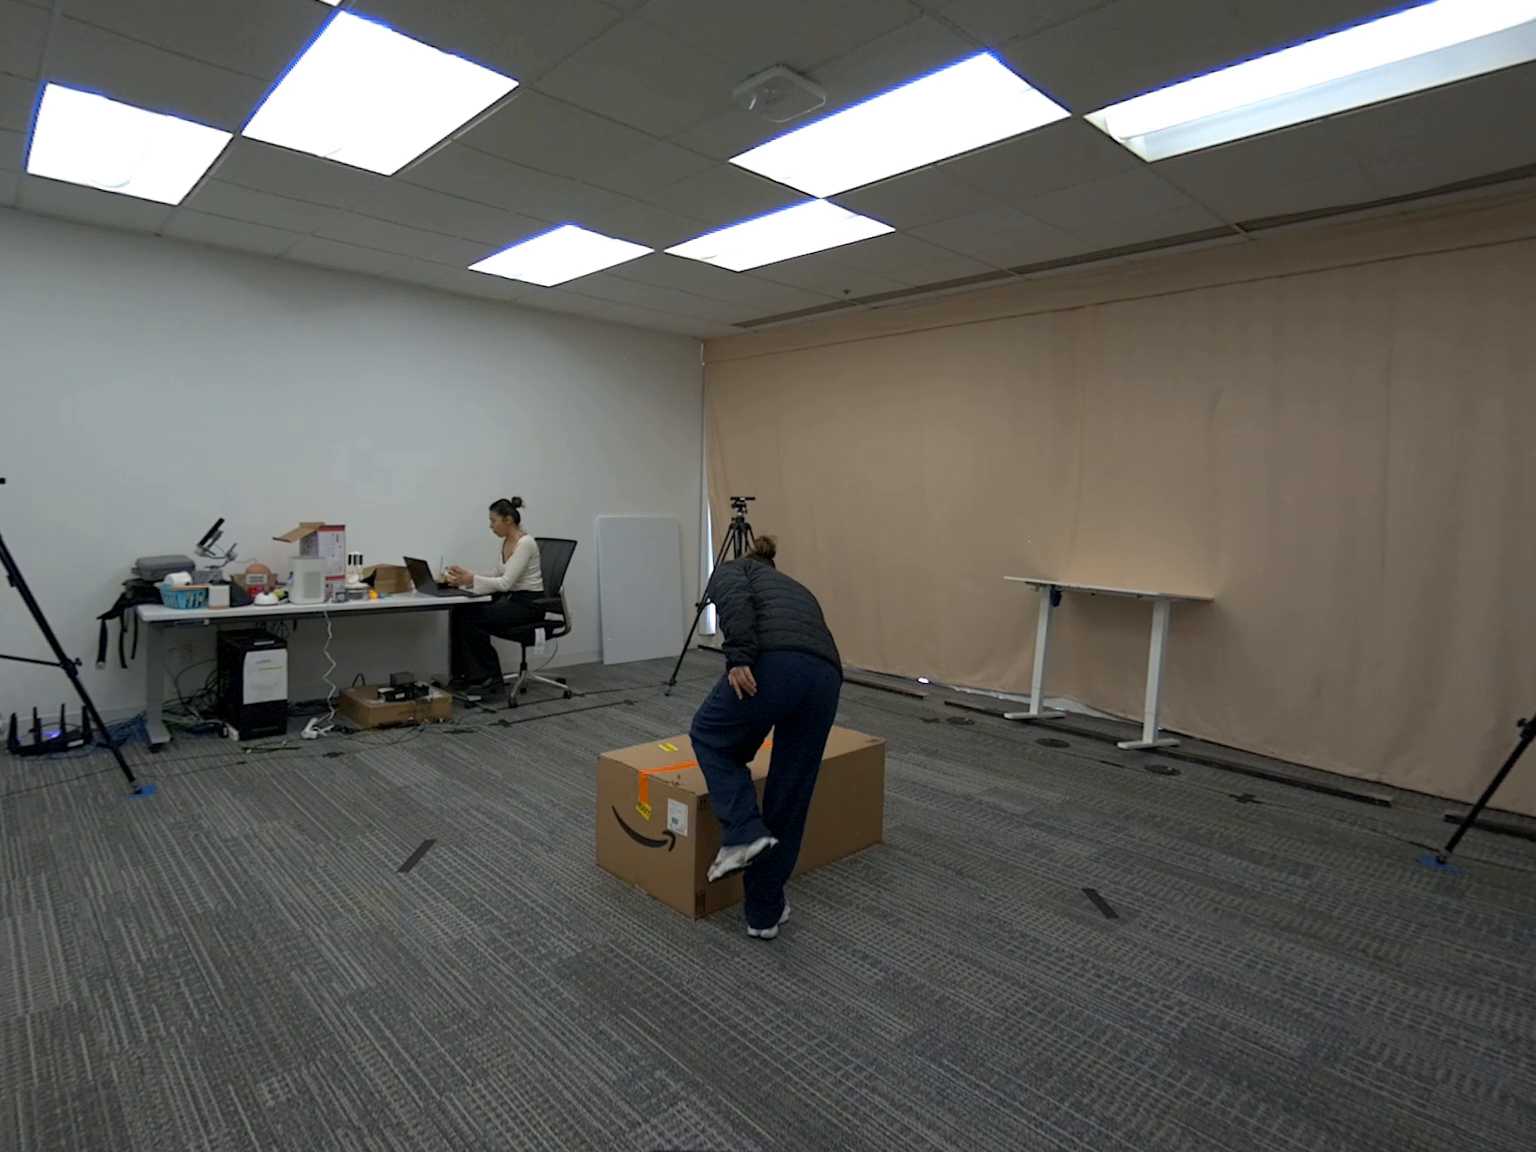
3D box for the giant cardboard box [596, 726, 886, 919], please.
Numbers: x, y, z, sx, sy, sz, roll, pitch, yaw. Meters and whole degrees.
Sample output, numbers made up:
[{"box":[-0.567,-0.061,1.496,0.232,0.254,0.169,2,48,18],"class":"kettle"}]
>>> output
[{"box":[-0.089,0.885,3.296,1.003,0.445,0.599,-3,7,-44],"class":"giant cardboard box"}]
